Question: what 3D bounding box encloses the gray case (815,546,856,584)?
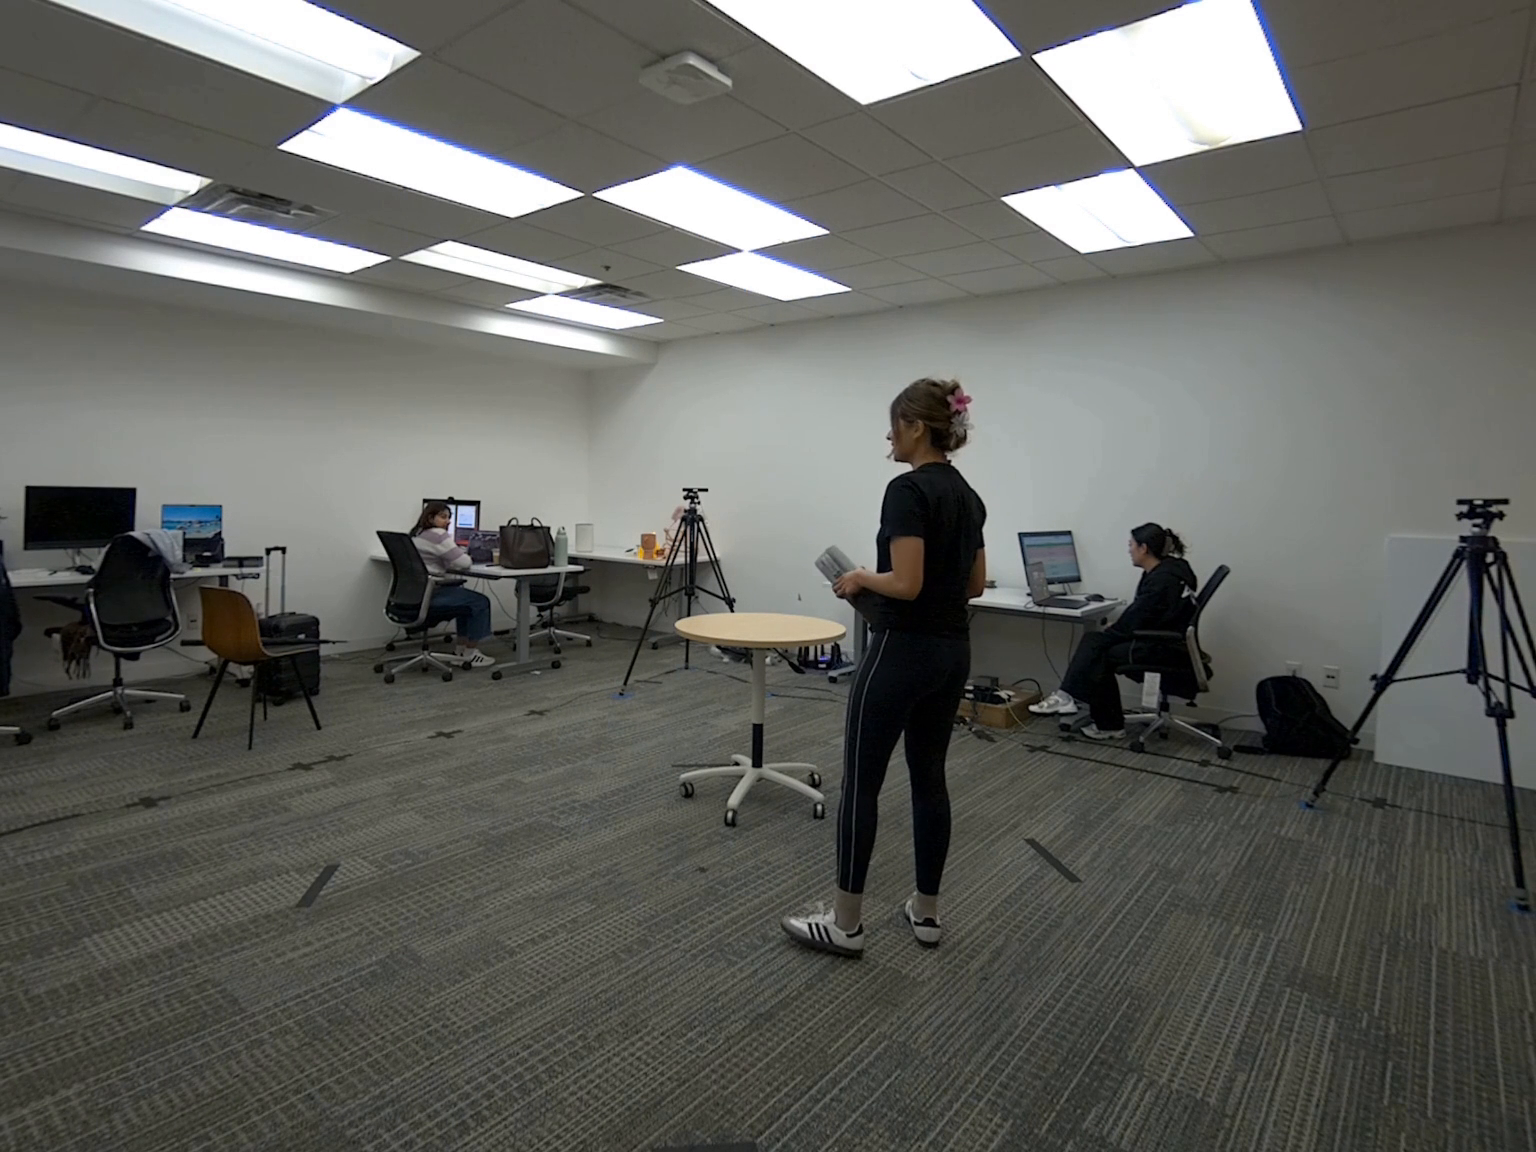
[{"bbox_3d":[0.283,0.038,2.835,0.251,0.104,0.267,46,5,-33],"label":"gray case"}]
